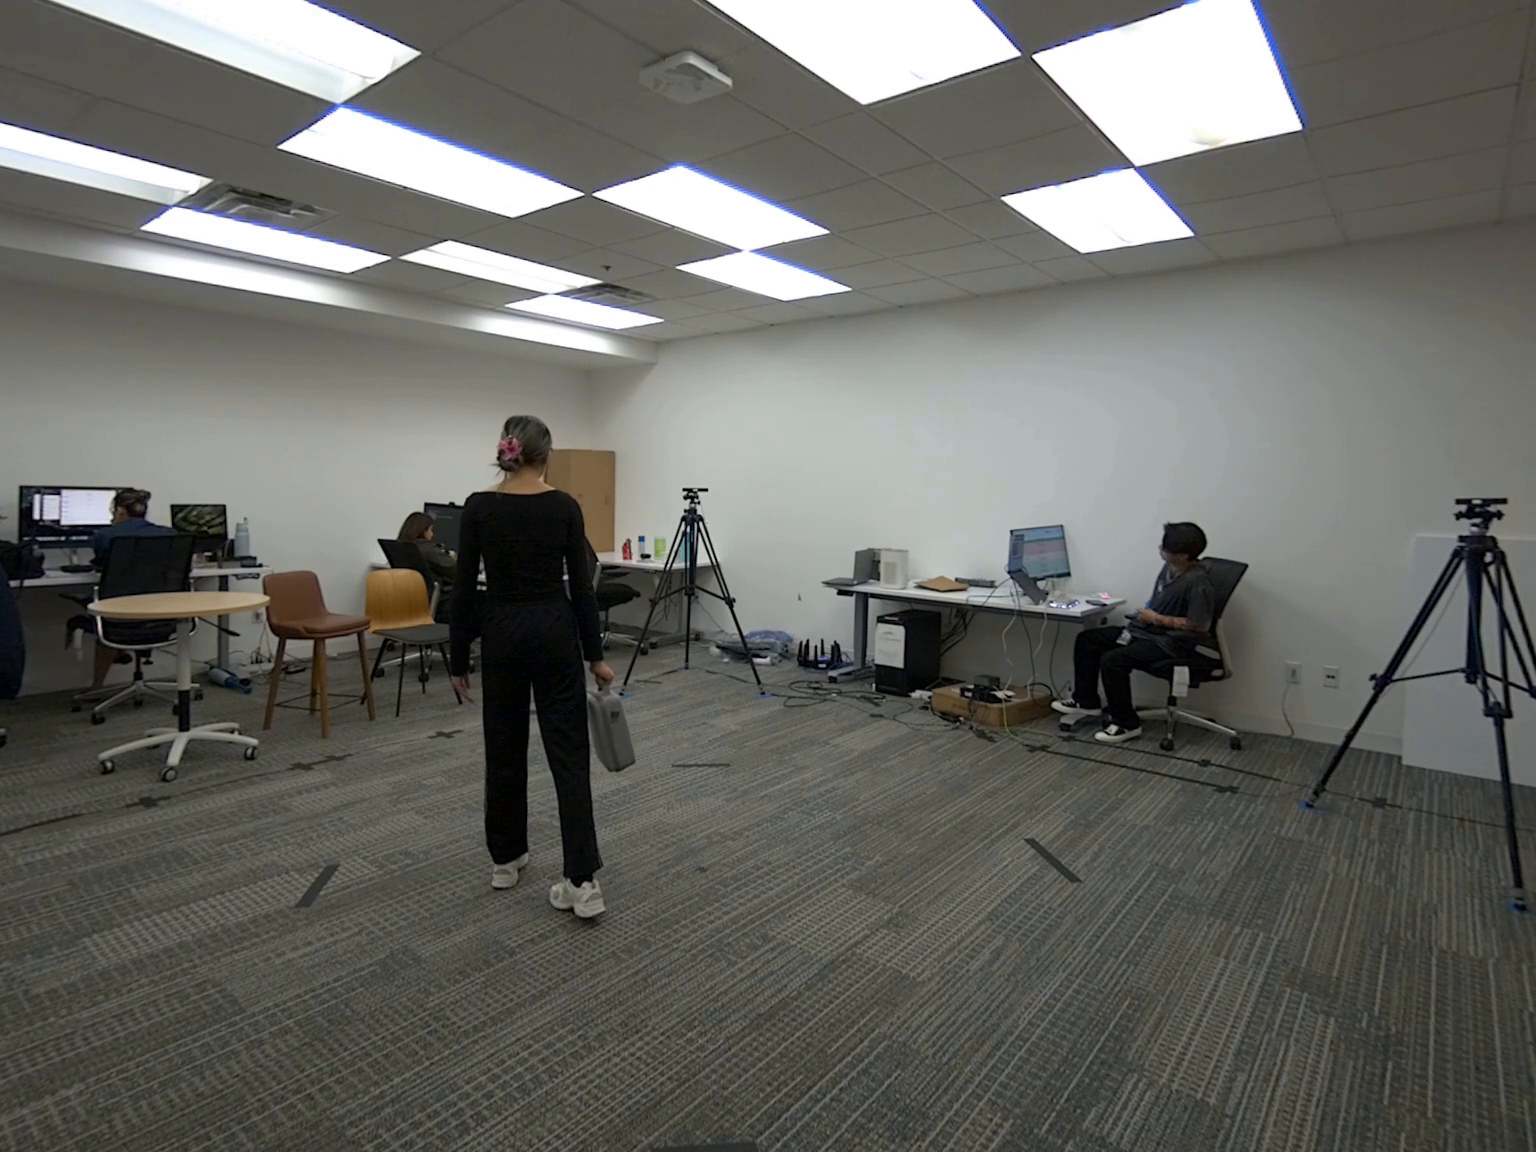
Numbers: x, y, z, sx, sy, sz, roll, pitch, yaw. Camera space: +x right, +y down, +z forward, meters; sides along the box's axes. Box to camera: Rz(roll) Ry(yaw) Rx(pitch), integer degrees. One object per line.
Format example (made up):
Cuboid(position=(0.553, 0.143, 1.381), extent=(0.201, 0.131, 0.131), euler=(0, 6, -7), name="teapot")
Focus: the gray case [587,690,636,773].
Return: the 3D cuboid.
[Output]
Cuboid(position=(-0.573, 0.527, 2.972), extent=(0.103, 0.260, 0.261), euler=(-9, 3, -18), name="gray case")
